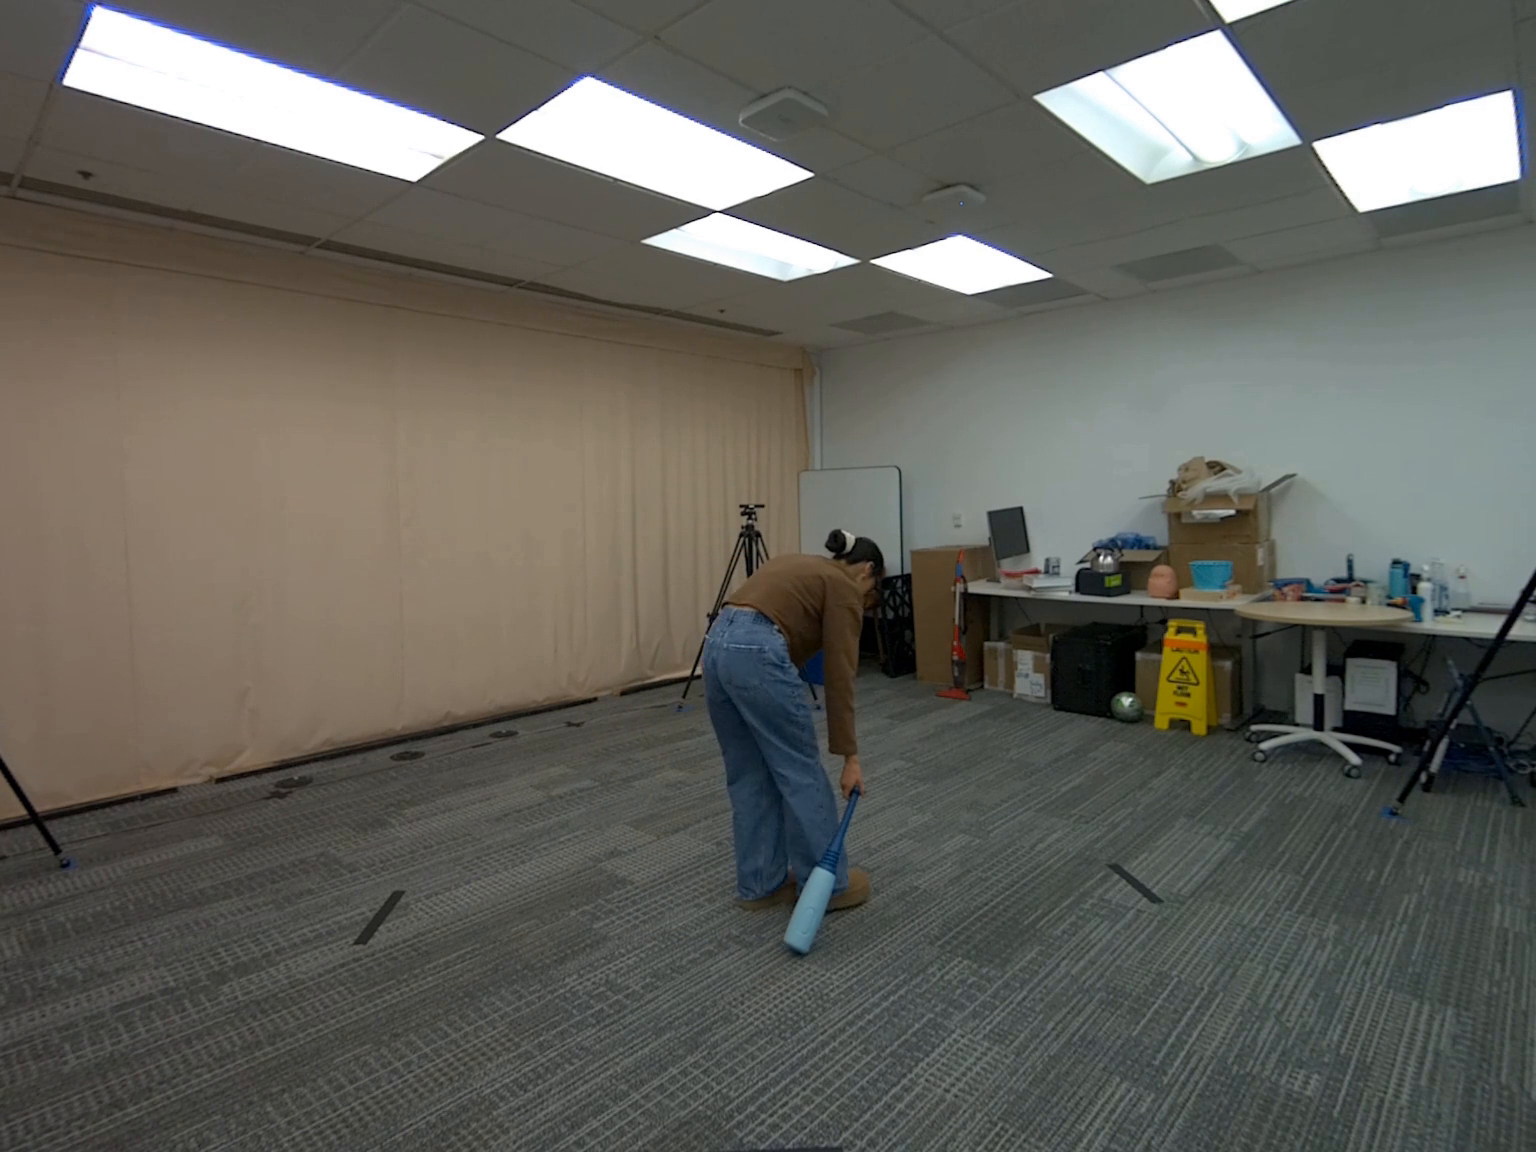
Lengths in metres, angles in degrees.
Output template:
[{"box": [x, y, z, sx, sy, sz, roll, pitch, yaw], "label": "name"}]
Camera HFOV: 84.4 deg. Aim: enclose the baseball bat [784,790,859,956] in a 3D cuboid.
[{"box": [0.200, 0.927, 2.698, 0.090, 0.543, 0.088, 24, -23, 9], "label": "baseball bat"}]
